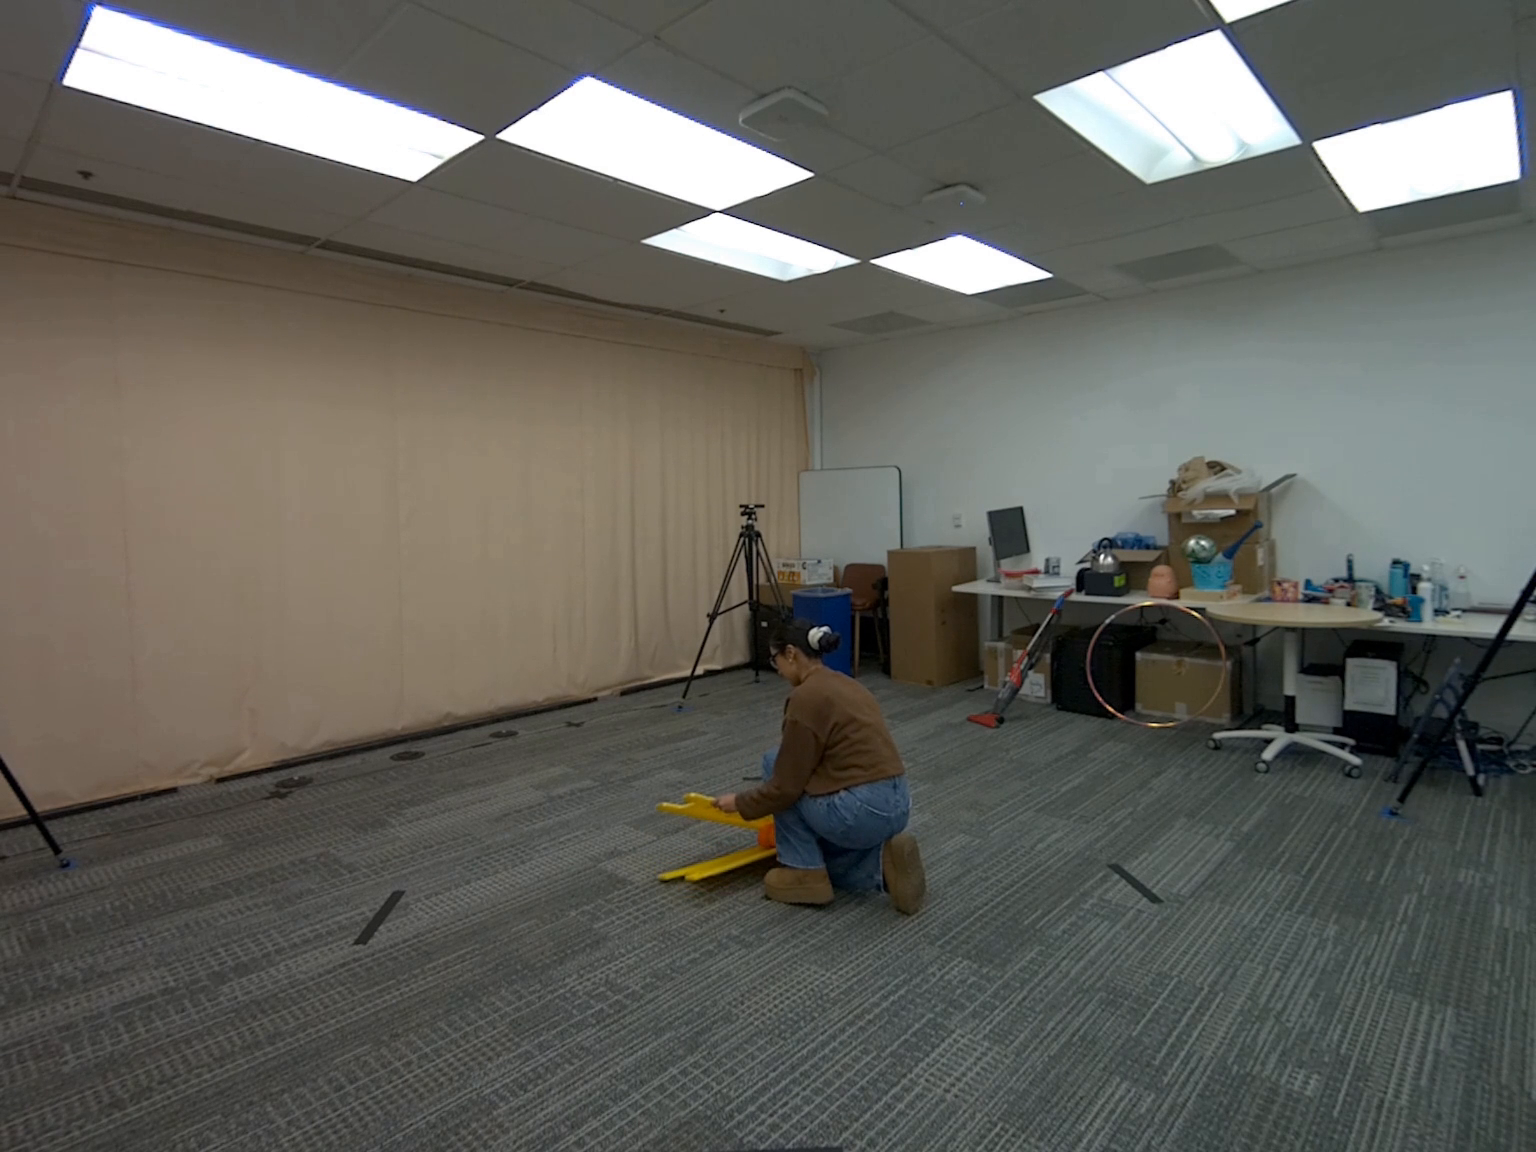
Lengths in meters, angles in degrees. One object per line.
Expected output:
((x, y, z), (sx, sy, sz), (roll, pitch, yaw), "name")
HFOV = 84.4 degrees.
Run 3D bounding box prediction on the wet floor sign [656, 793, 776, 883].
((-0.085, 1.011, 3.247), (0.627, 0.293, 0.287), (10, -23, -31), "wet floor sign")
